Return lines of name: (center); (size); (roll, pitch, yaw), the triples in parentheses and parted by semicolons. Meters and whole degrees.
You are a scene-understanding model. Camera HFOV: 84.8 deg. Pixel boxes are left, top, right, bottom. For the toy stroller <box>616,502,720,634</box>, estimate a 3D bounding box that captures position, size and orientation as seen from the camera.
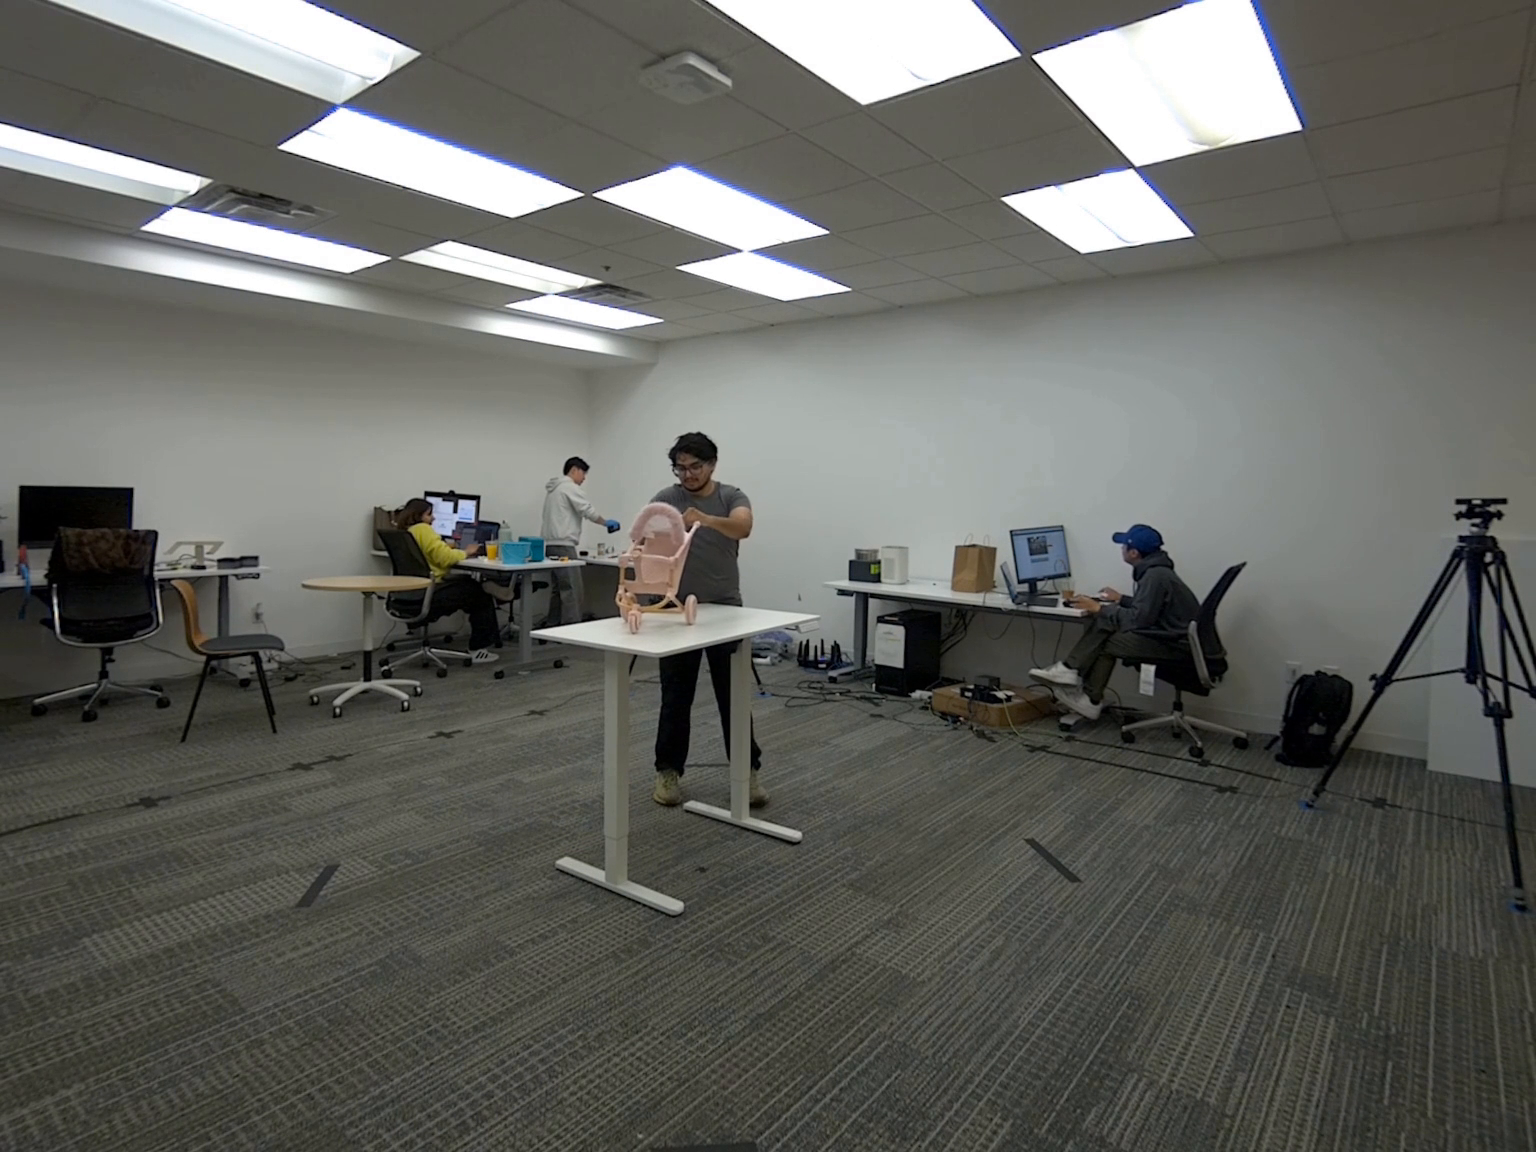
toy stroller: (-0.432, -0.039, 3.151); (0.287, 0.541, 0.330); (1, -15, 18)
